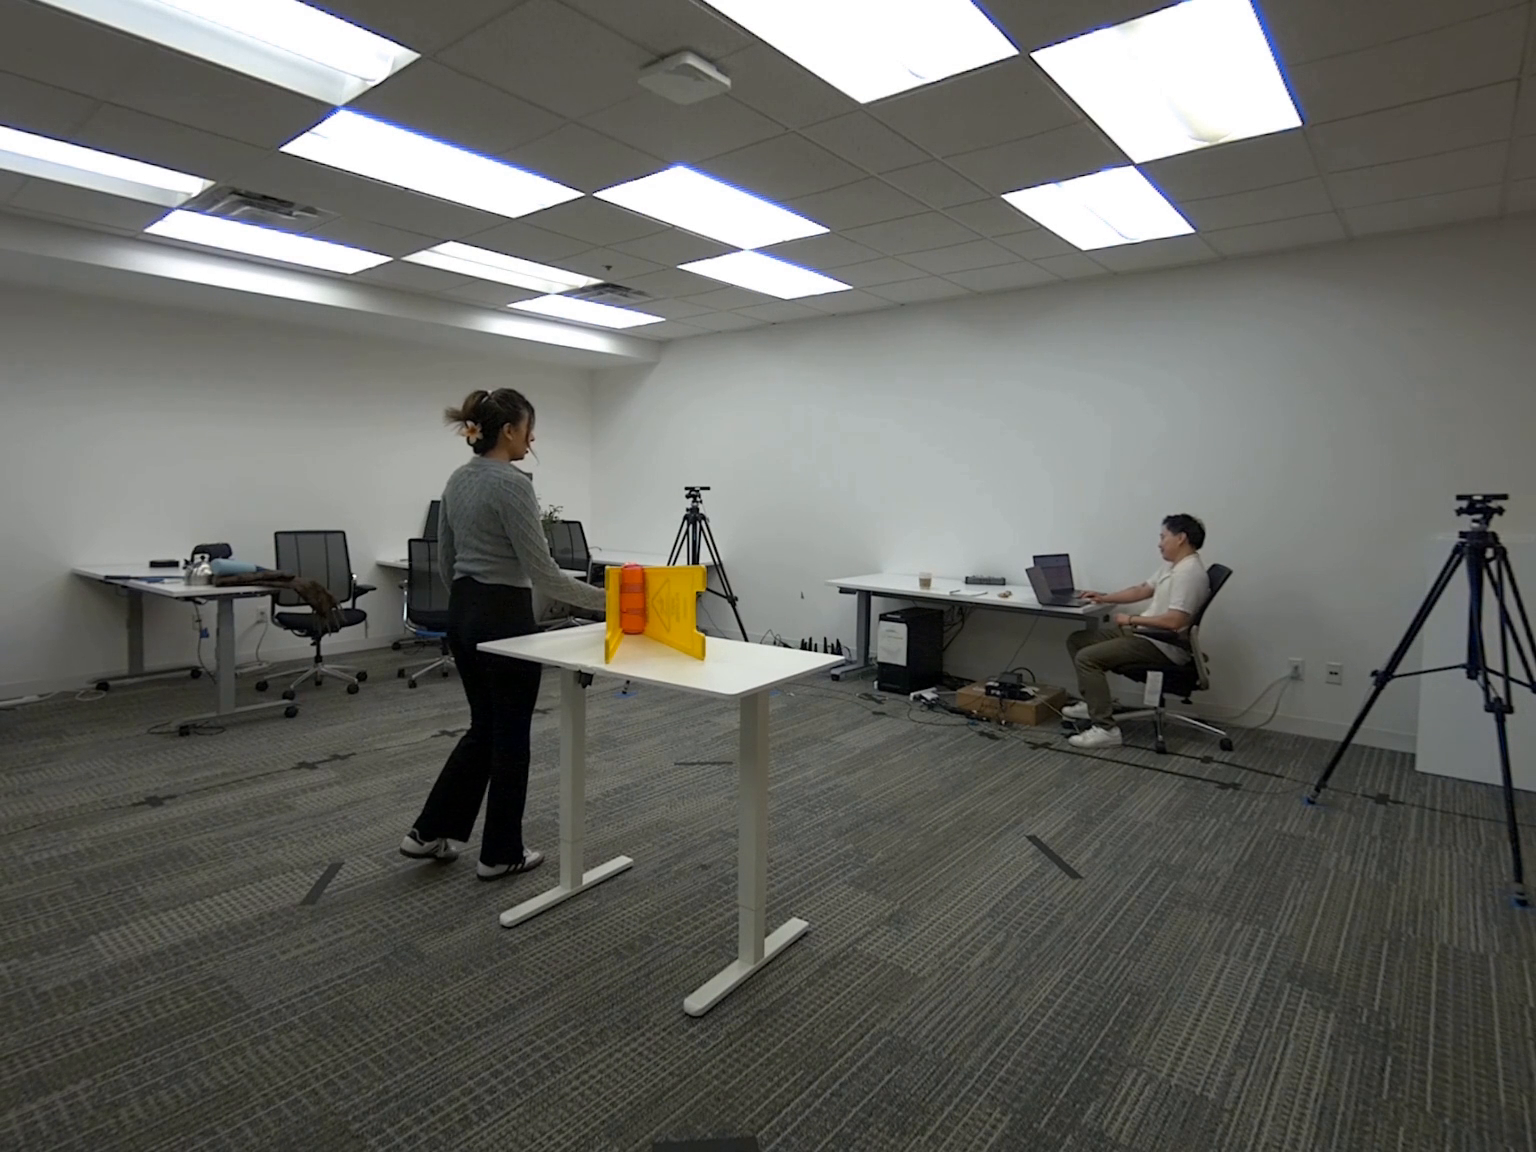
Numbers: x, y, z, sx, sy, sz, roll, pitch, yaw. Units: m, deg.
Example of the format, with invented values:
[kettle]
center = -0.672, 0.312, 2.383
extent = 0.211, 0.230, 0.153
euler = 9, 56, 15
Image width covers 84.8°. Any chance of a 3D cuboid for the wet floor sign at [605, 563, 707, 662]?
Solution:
[wet floor sign]
center = -0.425, 0.091, 2.777
extent = 0.285, 0.282, 0.656
euler = 0, 3, -15
